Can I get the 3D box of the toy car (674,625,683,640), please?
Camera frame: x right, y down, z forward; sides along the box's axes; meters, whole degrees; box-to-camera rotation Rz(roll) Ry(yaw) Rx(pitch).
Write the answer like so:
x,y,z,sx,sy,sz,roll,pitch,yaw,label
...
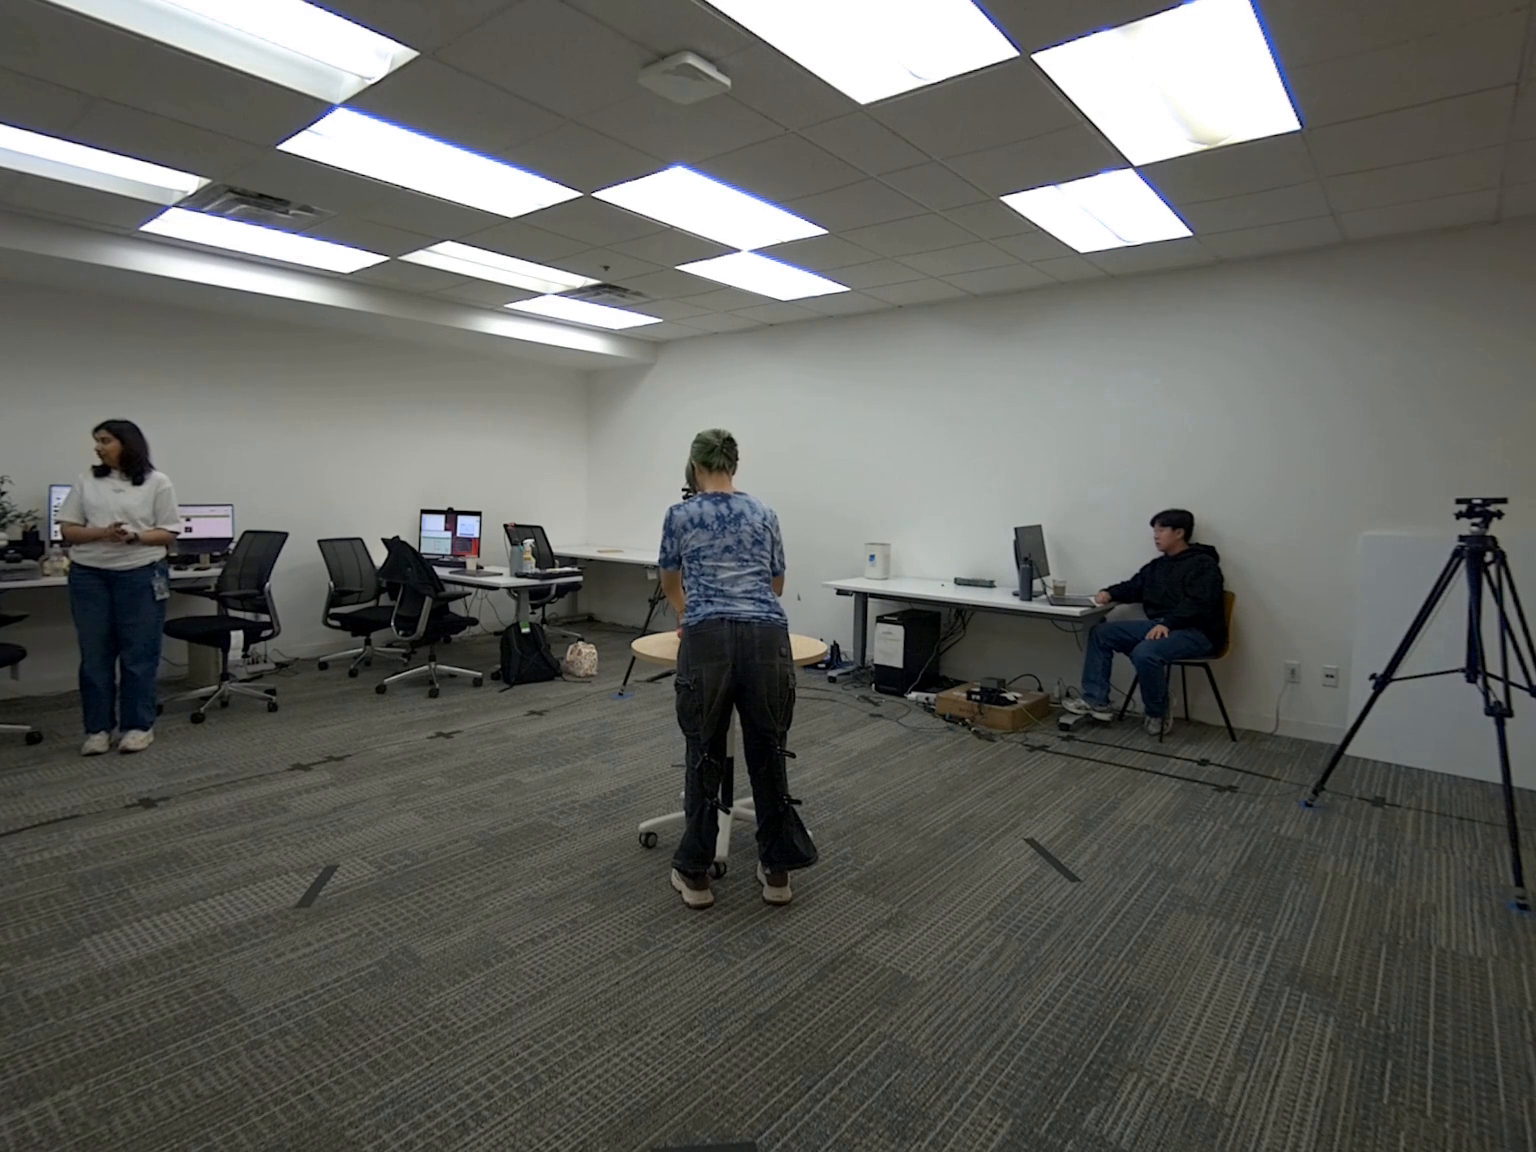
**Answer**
x,y,z,sx,sy,sz,roll,pitch,yaw,label
-0.243,0.228,3.377,0.254,0.083,0.131,-10,5,-4,toy car
